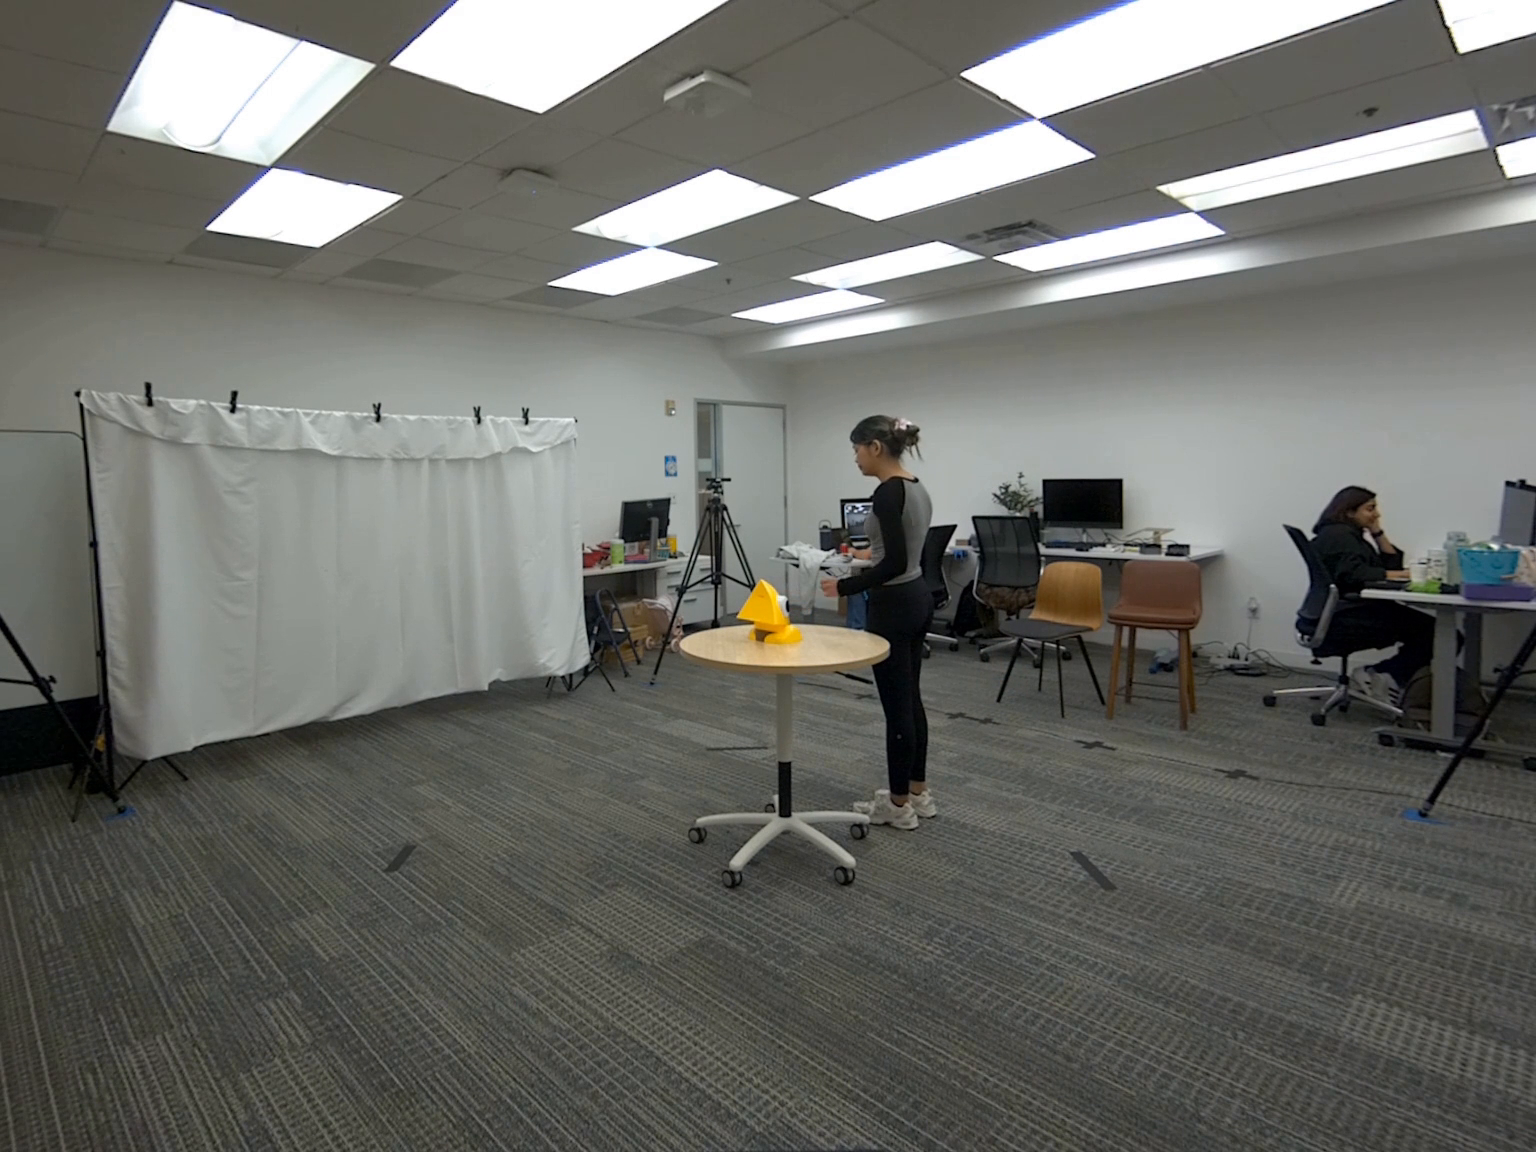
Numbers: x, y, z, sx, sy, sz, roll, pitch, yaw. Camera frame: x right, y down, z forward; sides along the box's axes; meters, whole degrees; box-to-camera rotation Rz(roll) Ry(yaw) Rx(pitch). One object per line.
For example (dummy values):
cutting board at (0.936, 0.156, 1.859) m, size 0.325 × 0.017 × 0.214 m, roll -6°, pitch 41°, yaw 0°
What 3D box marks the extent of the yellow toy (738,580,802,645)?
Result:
yellow toy at (0.021, 0.122, 3.203) m, size 0.188 × 0.230 × 0.211 m, roll -4°, pitch 7°, yaw -42°
